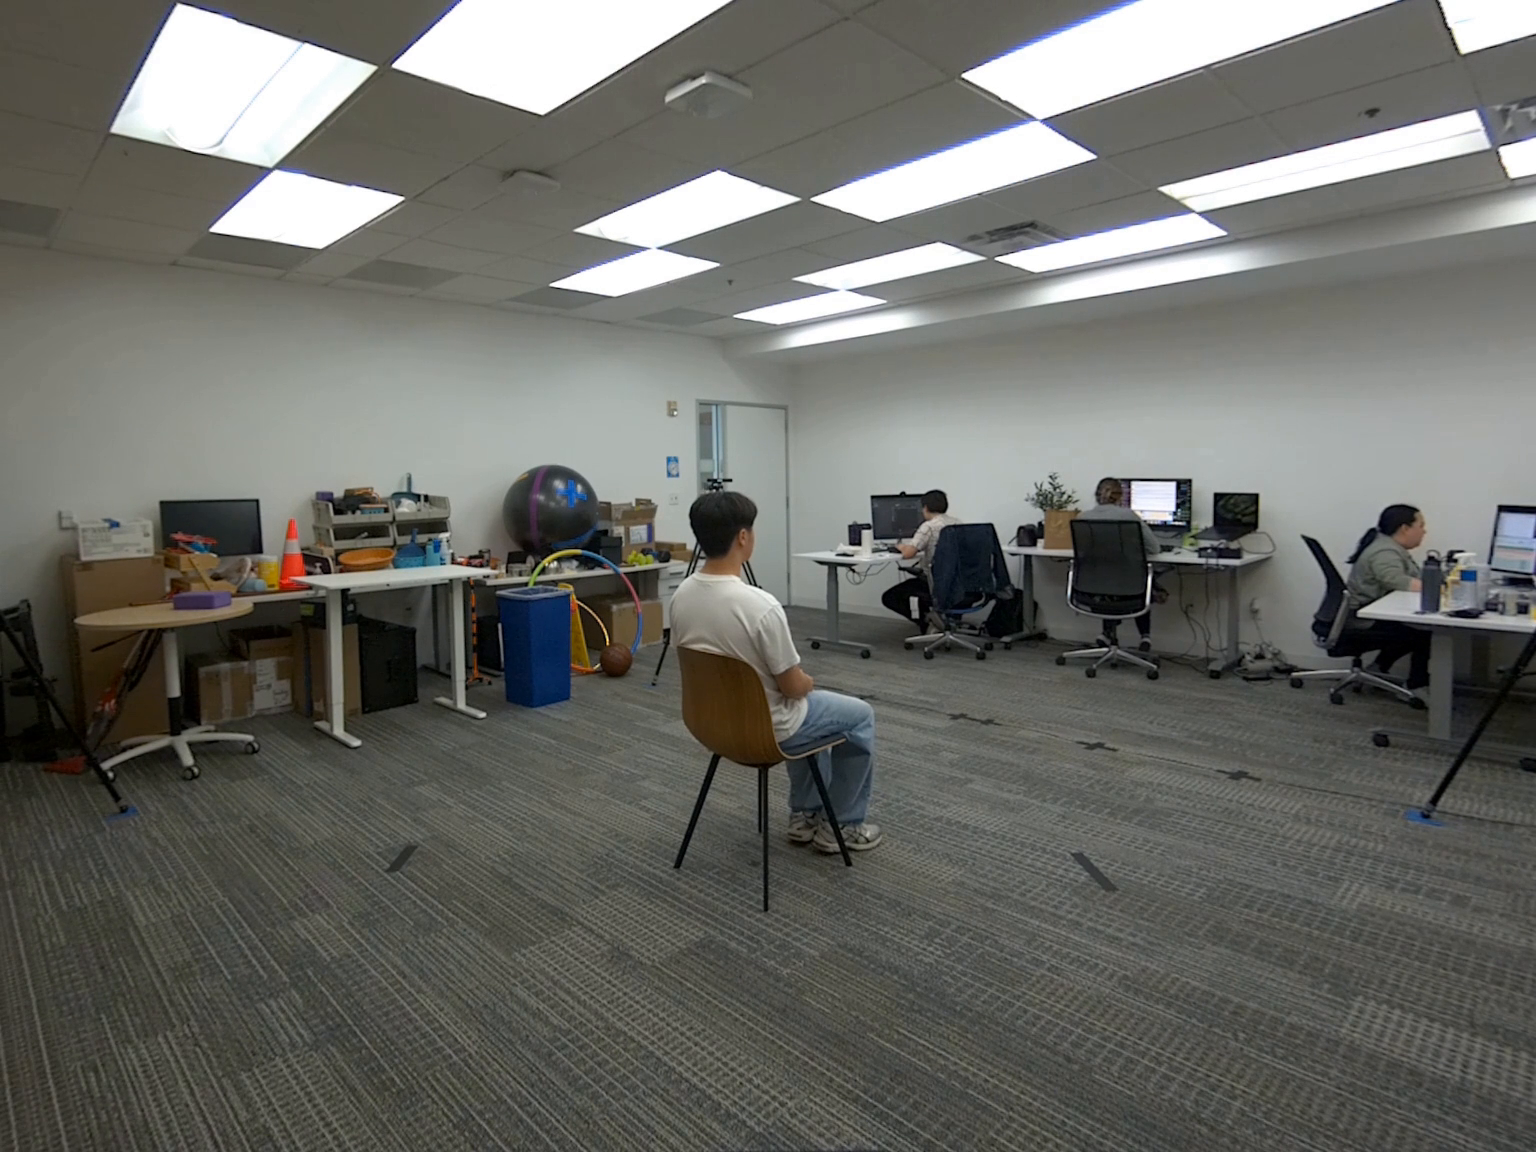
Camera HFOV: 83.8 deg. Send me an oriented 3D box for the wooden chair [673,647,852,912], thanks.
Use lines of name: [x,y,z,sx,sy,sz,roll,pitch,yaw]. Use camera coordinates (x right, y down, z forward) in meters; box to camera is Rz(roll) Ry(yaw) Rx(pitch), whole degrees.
wooden chair: [-0.023,0.625,3.040,0.493,0.871,0.511,4,11,44]
